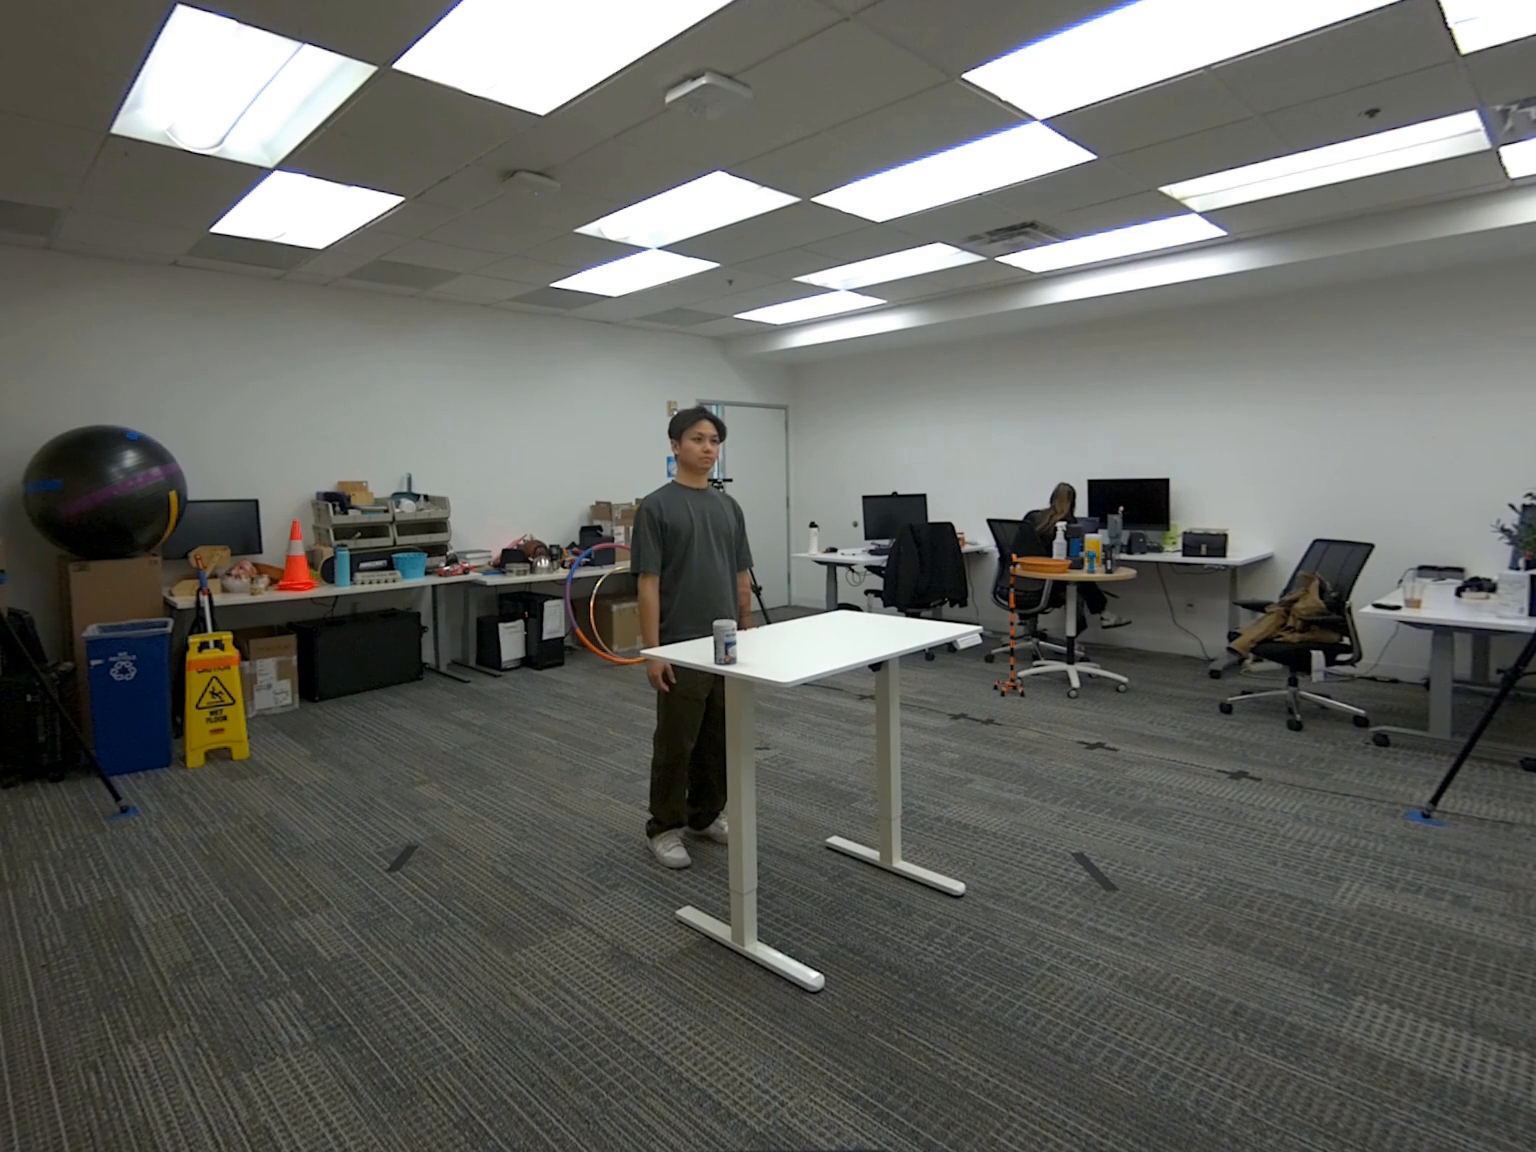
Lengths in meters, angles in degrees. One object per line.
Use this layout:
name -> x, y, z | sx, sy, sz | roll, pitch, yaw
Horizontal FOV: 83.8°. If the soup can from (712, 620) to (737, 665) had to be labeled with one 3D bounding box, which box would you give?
soup can -> -0.120, 0.193, 2.410 | 0.067, 0.121, 0.067 | 1, 5, -2
